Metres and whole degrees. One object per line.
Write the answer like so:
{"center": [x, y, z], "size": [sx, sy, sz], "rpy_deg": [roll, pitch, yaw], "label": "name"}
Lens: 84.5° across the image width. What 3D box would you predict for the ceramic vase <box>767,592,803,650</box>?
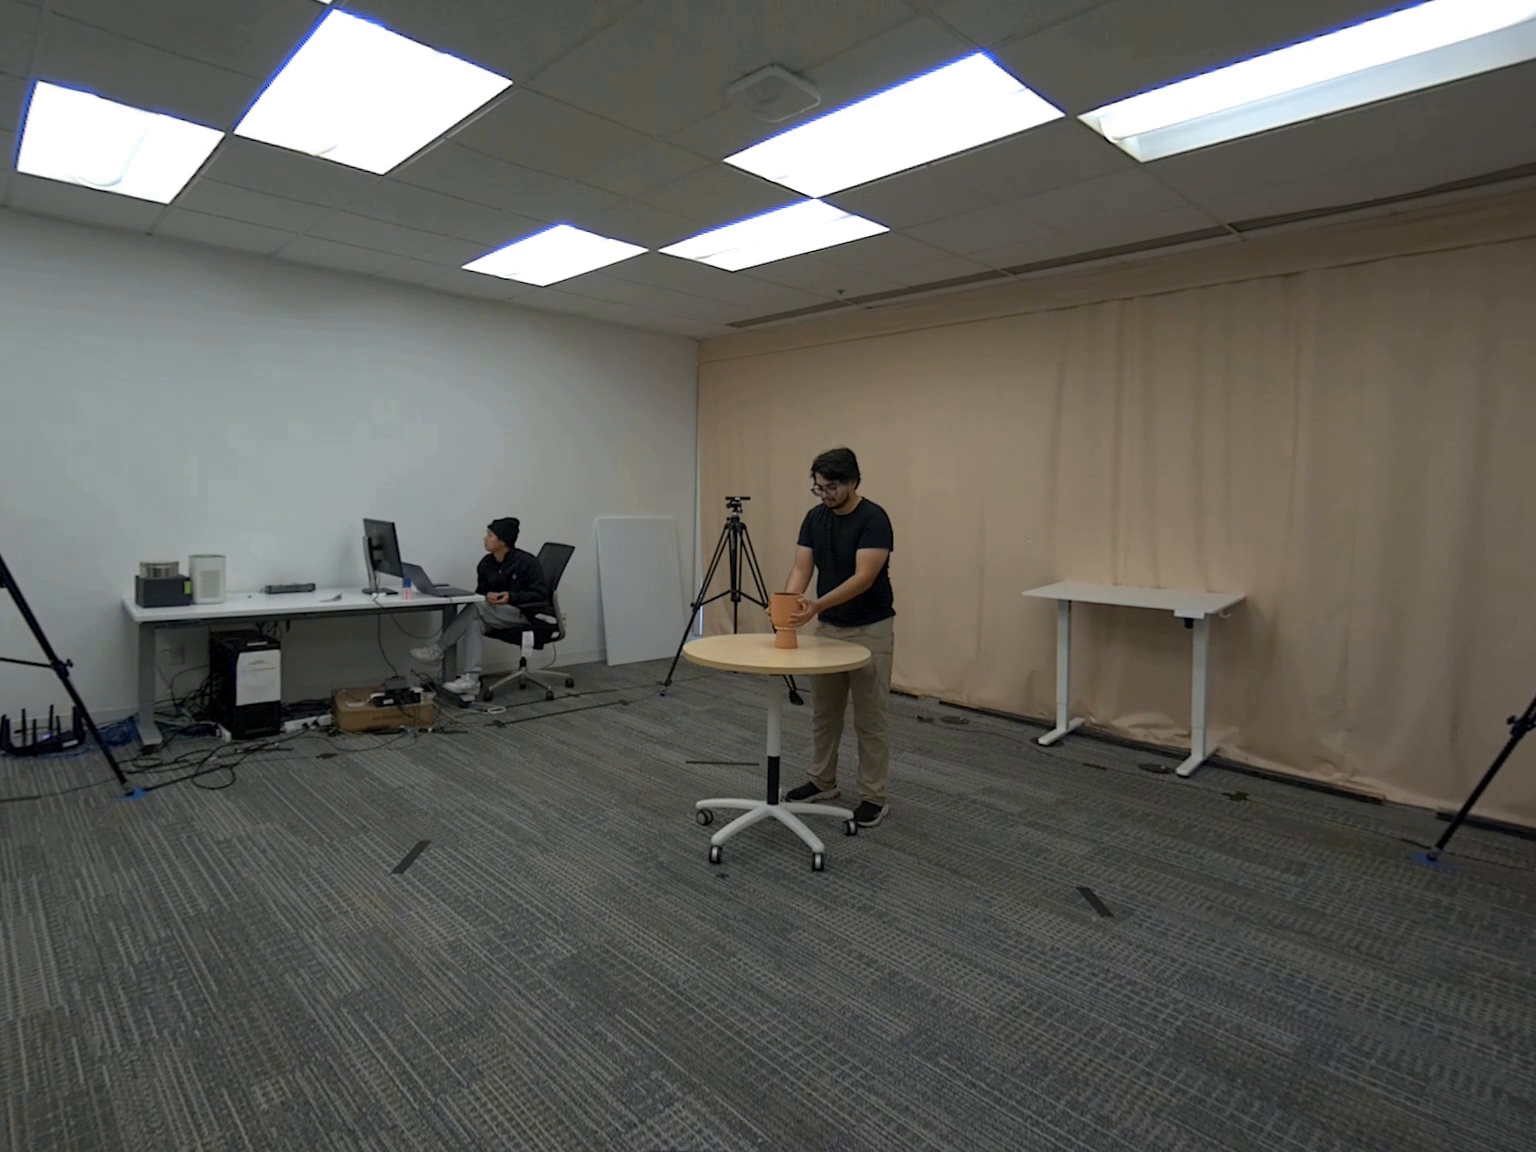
{"center": [0.067, 0.186, 3.494], "size": [0.133, 0.219, 0.161], "rpy_deg": [4, 3, -16], "label": "ceramic vase"}
